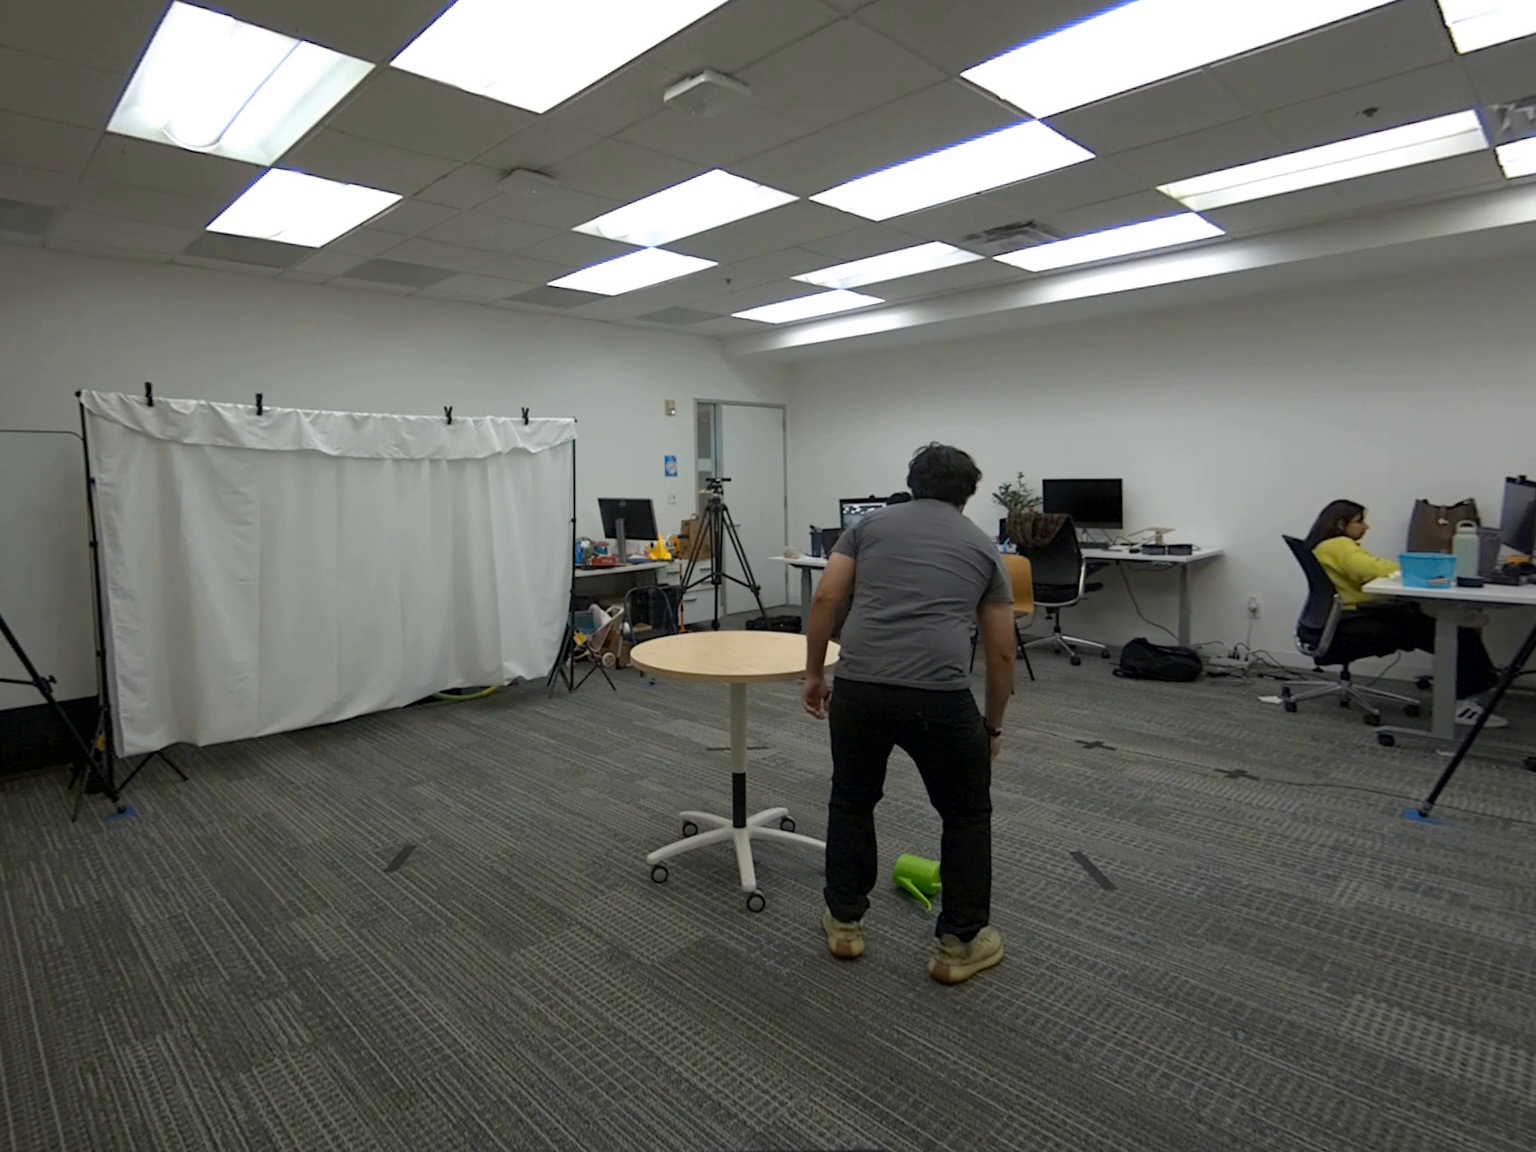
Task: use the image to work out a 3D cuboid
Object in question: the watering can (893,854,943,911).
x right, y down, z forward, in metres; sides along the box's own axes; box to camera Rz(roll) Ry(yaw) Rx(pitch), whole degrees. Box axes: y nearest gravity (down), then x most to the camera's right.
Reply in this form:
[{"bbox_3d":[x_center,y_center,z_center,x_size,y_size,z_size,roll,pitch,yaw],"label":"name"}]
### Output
[{"bbox_3d":[0.511,1.014,2.840,0.181,0.098,0.270,2,0,32],"label":"watering can"}]
